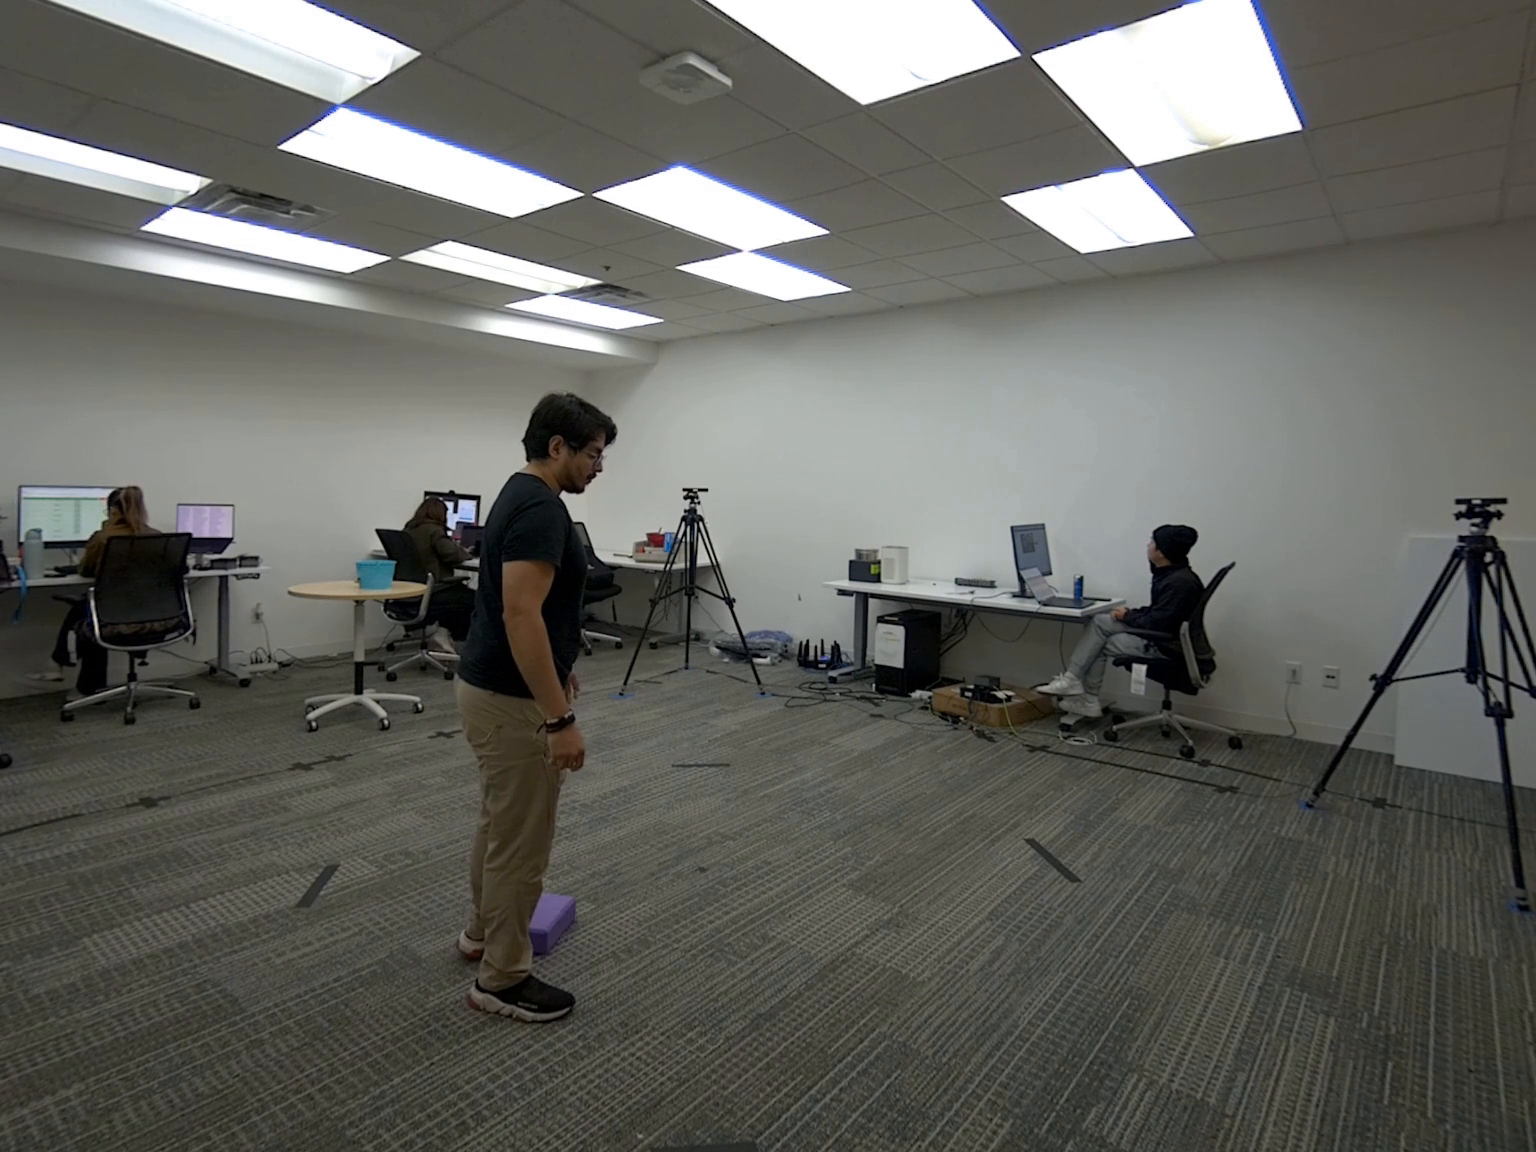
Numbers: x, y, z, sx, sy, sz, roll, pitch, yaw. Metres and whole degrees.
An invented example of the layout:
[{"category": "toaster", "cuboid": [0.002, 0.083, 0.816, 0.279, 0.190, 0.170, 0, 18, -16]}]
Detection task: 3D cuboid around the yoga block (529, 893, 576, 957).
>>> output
[{"category": "yoga block", "cuboid": [-0.715, 1.069, 2.631, 0.151, 0.076, 0.227, 1, 5, 11]}]
